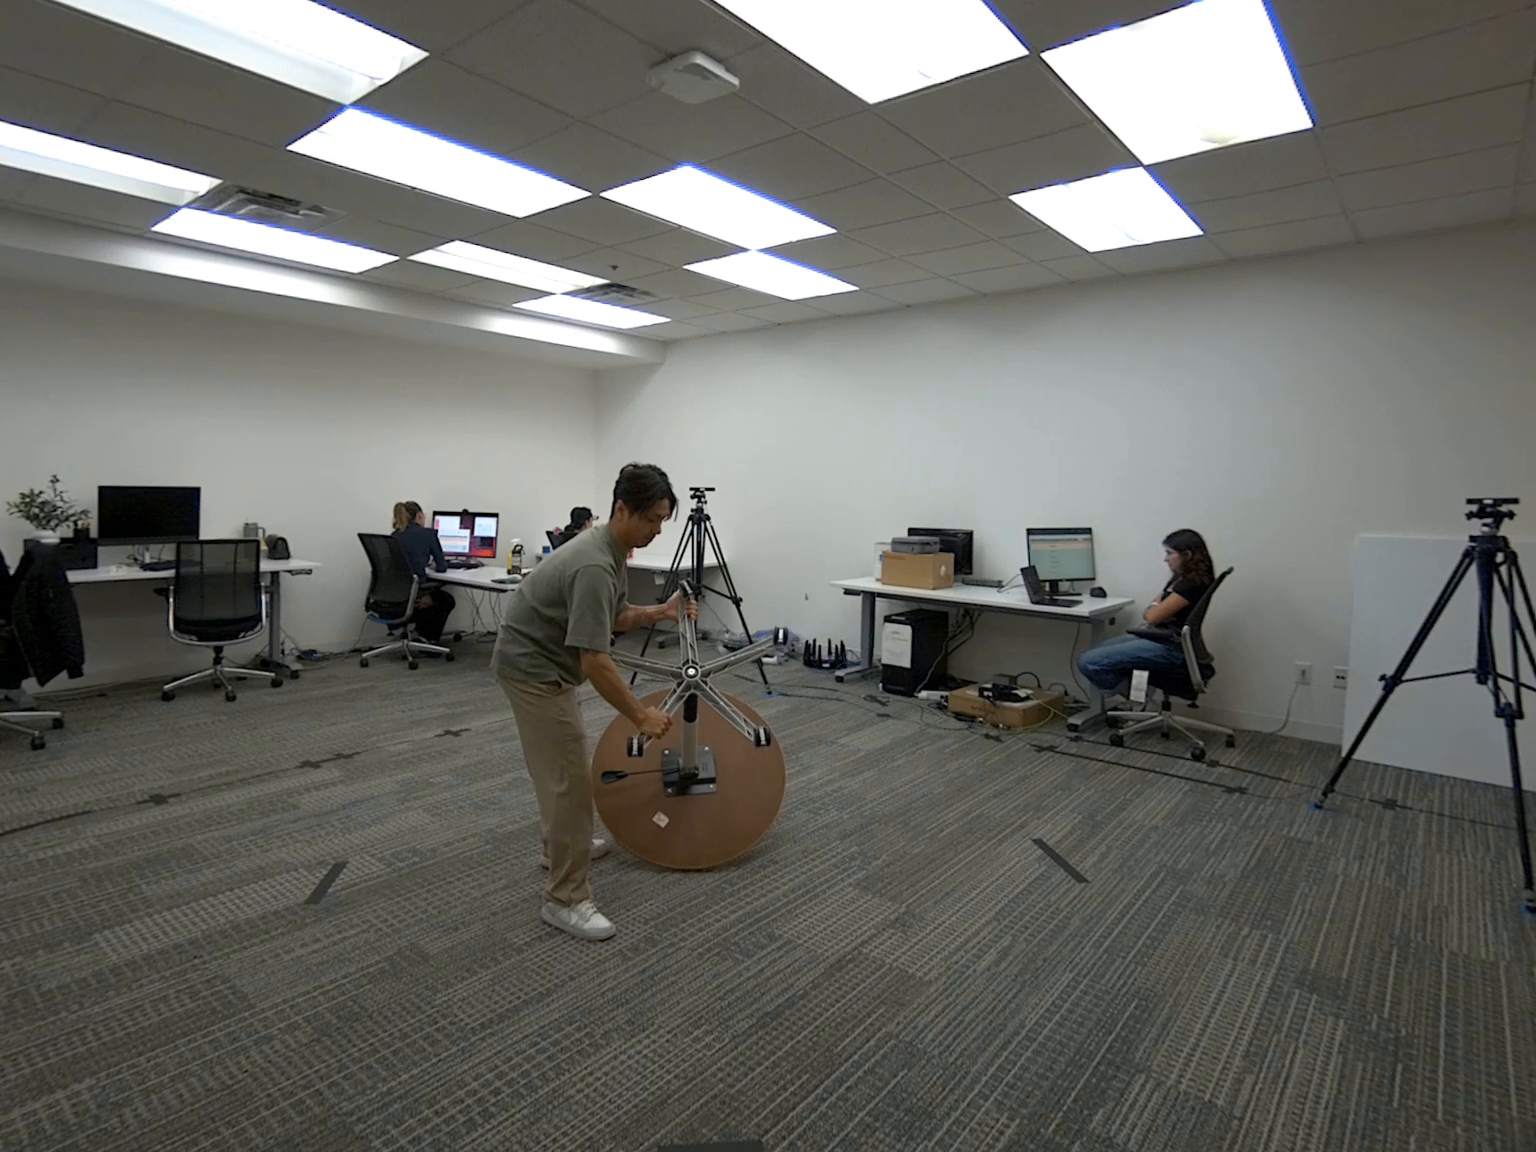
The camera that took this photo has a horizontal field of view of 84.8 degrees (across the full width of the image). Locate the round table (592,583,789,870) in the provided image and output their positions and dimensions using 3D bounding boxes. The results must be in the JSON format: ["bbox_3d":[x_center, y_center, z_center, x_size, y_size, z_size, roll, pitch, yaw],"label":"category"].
[{"bbox_3d":[-0.283,0.532,3.046,0.783,0.808,0.766,1,-41,-3],"label":"round table"}]
